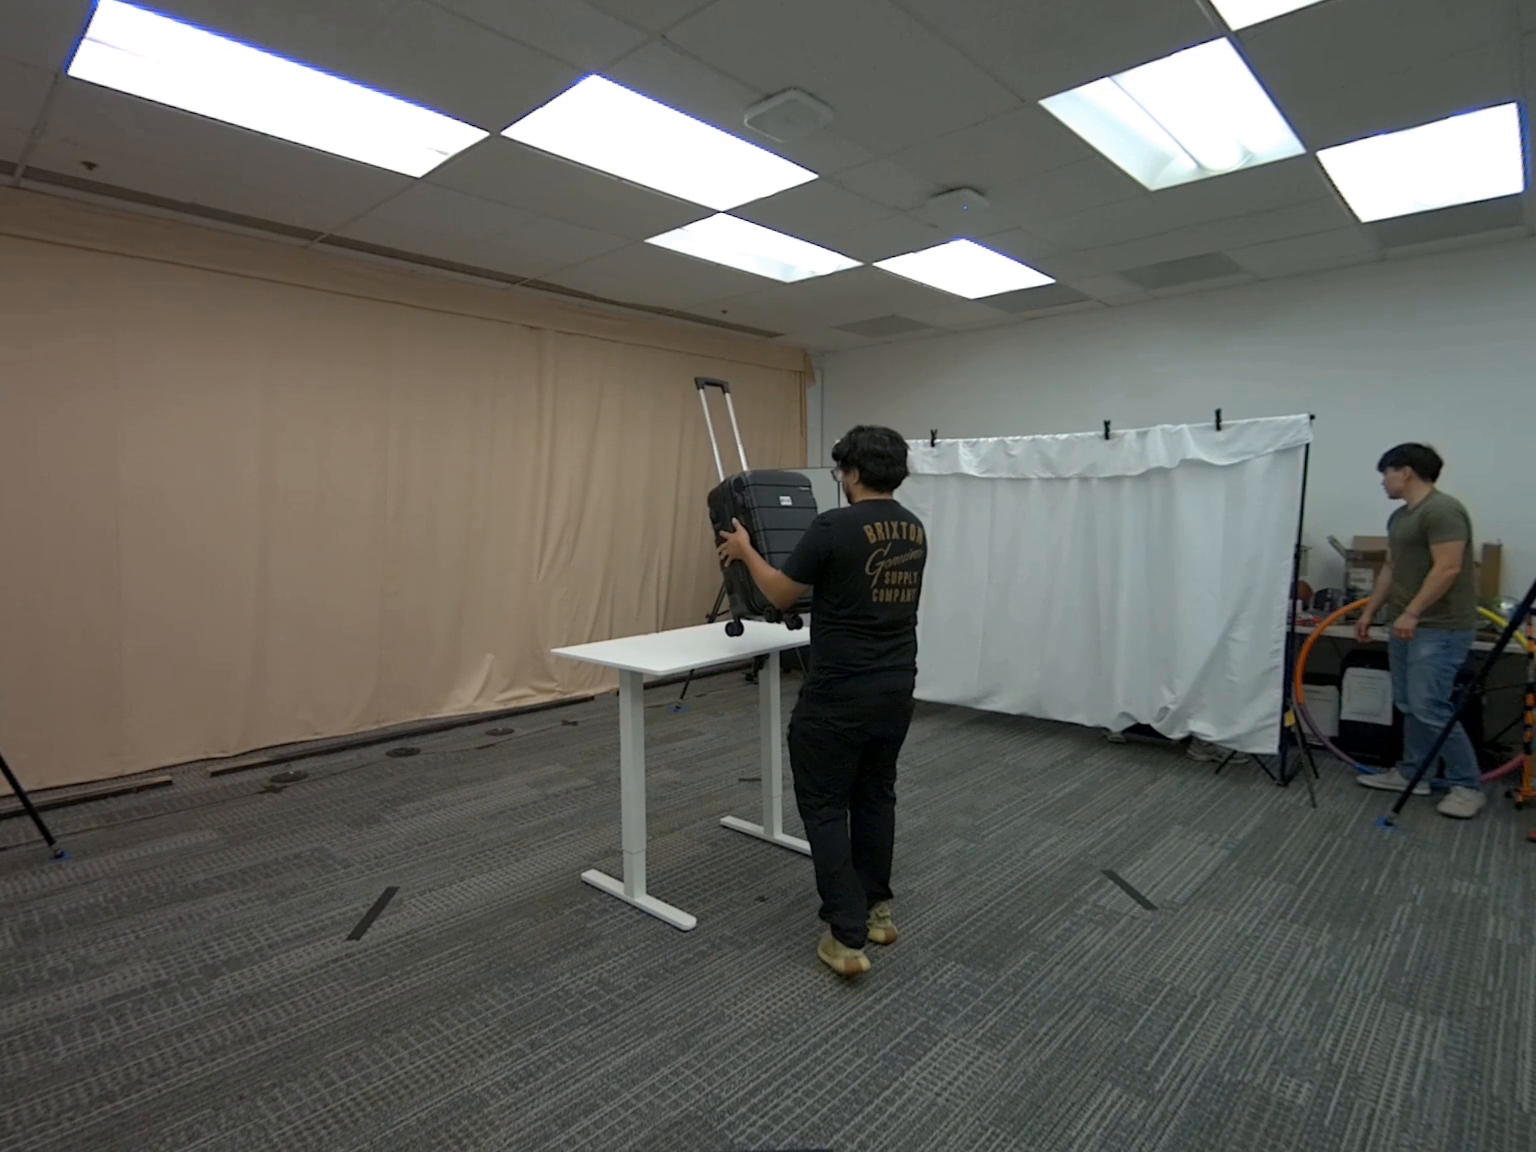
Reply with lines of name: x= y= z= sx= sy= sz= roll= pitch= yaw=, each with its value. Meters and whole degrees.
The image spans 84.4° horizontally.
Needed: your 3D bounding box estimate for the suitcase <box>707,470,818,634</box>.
suitcase: x=-0.027 y=-0.294 z=3.009 sx=0.372 sy=0.987 sz=0.263 roll=-2 pitch=-14 yaw=-42
